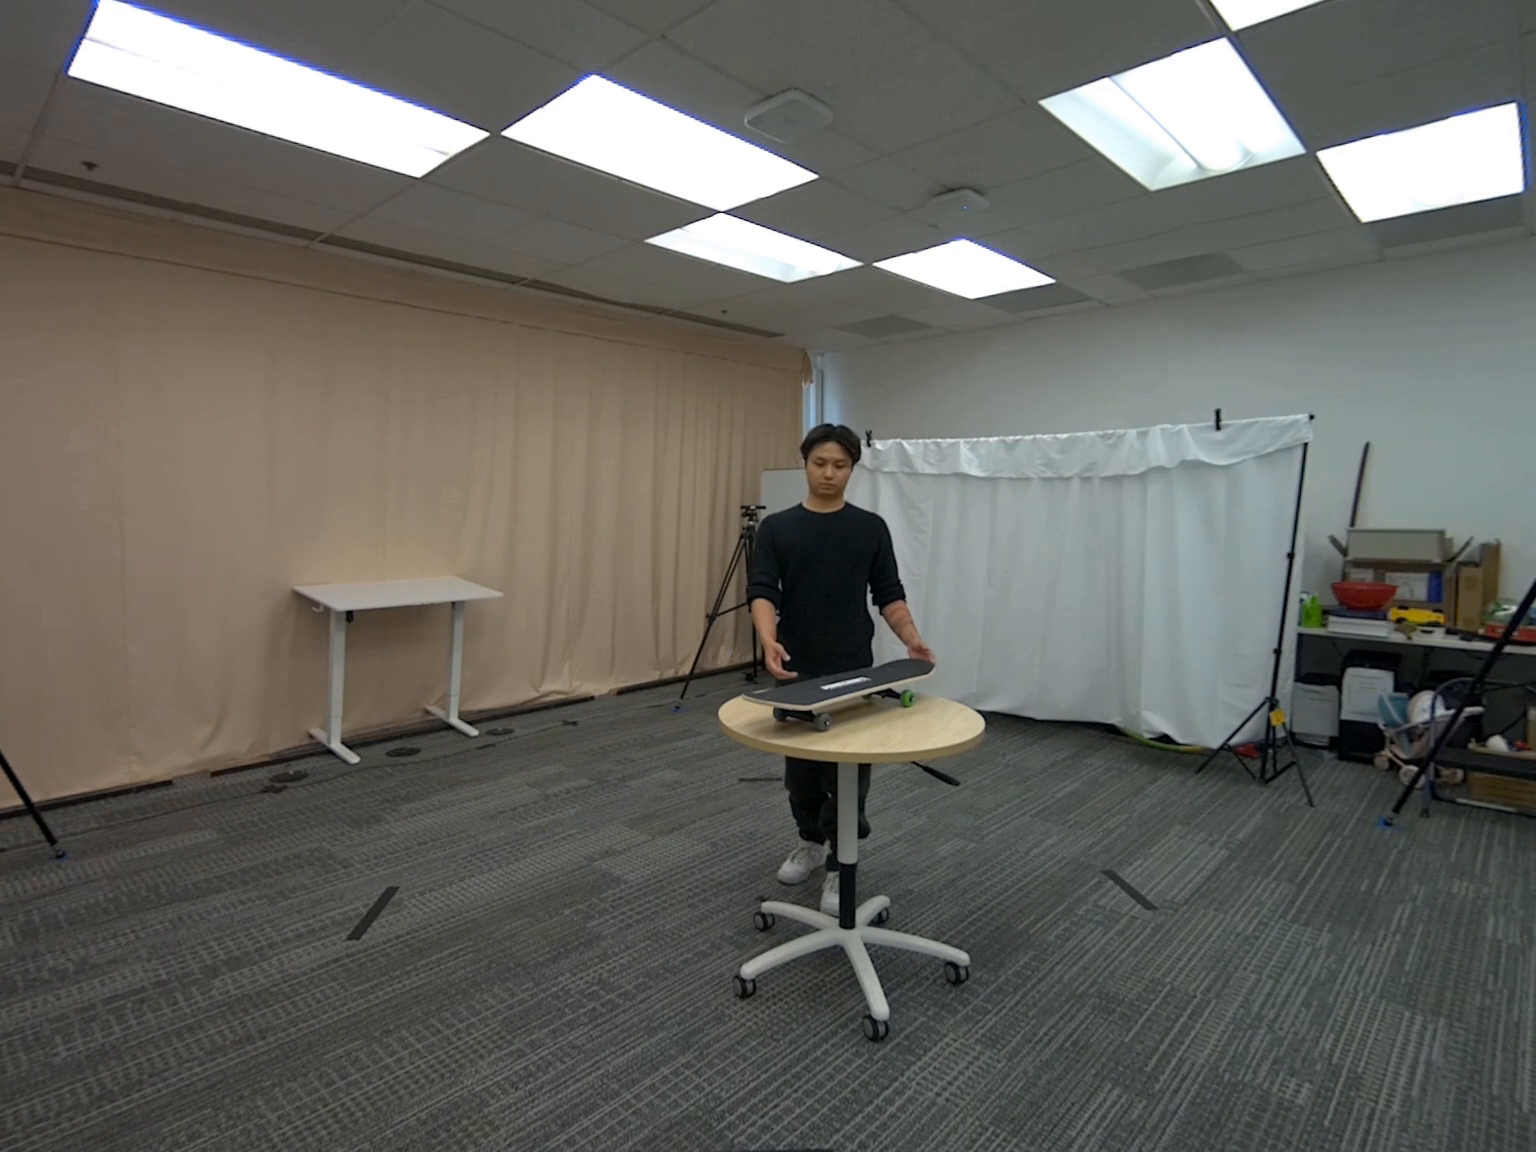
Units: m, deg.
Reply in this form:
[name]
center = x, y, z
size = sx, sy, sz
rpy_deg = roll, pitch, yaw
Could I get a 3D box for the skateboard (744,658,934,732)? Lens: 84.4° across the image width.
[skateboard]
center = 0.231, 0.352, 2.476
size = 0.200, 0.110, 0.761
rpy_deg = 7, 8, 44
